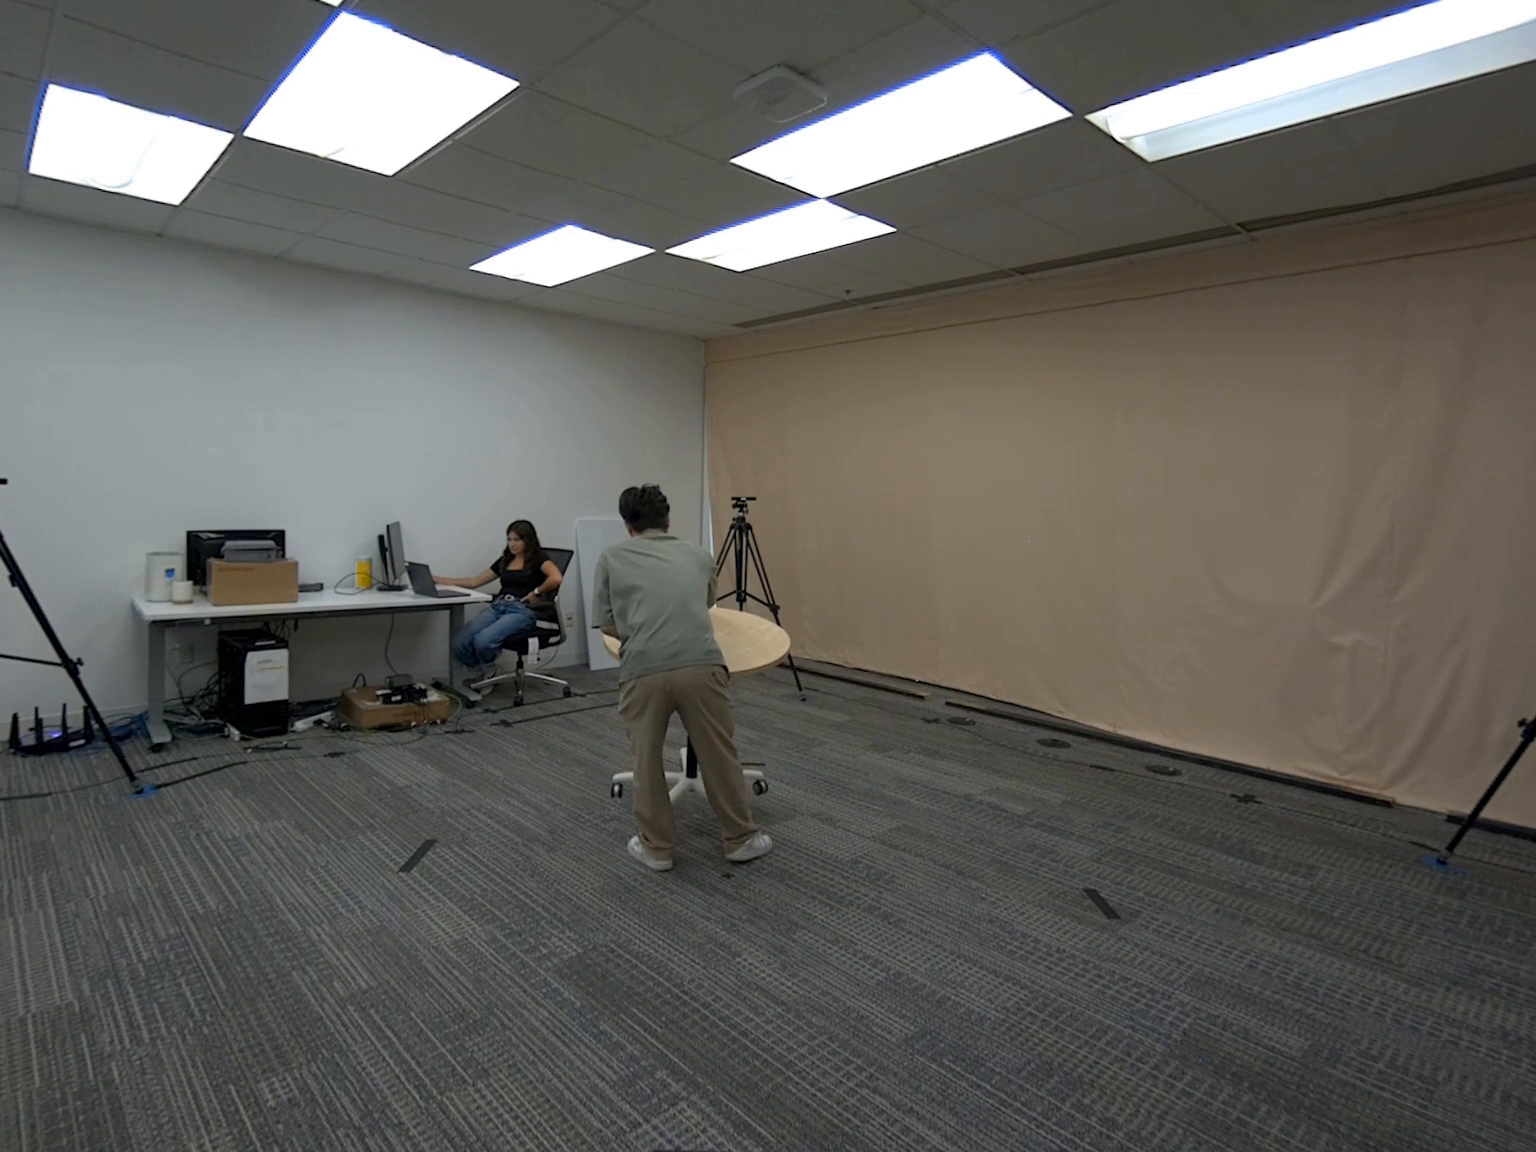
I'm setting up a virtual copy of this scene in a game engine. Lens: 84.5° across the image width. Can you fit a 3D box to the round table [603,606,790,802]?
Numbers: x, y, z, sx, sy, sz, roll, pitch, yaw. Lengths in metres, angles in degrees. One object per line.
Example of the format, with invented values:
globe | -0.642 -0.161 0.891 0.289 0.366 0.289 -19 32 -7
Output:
round table | -0.332 0.618 3.575 0.784 0.779 0.794 2 14 -2
